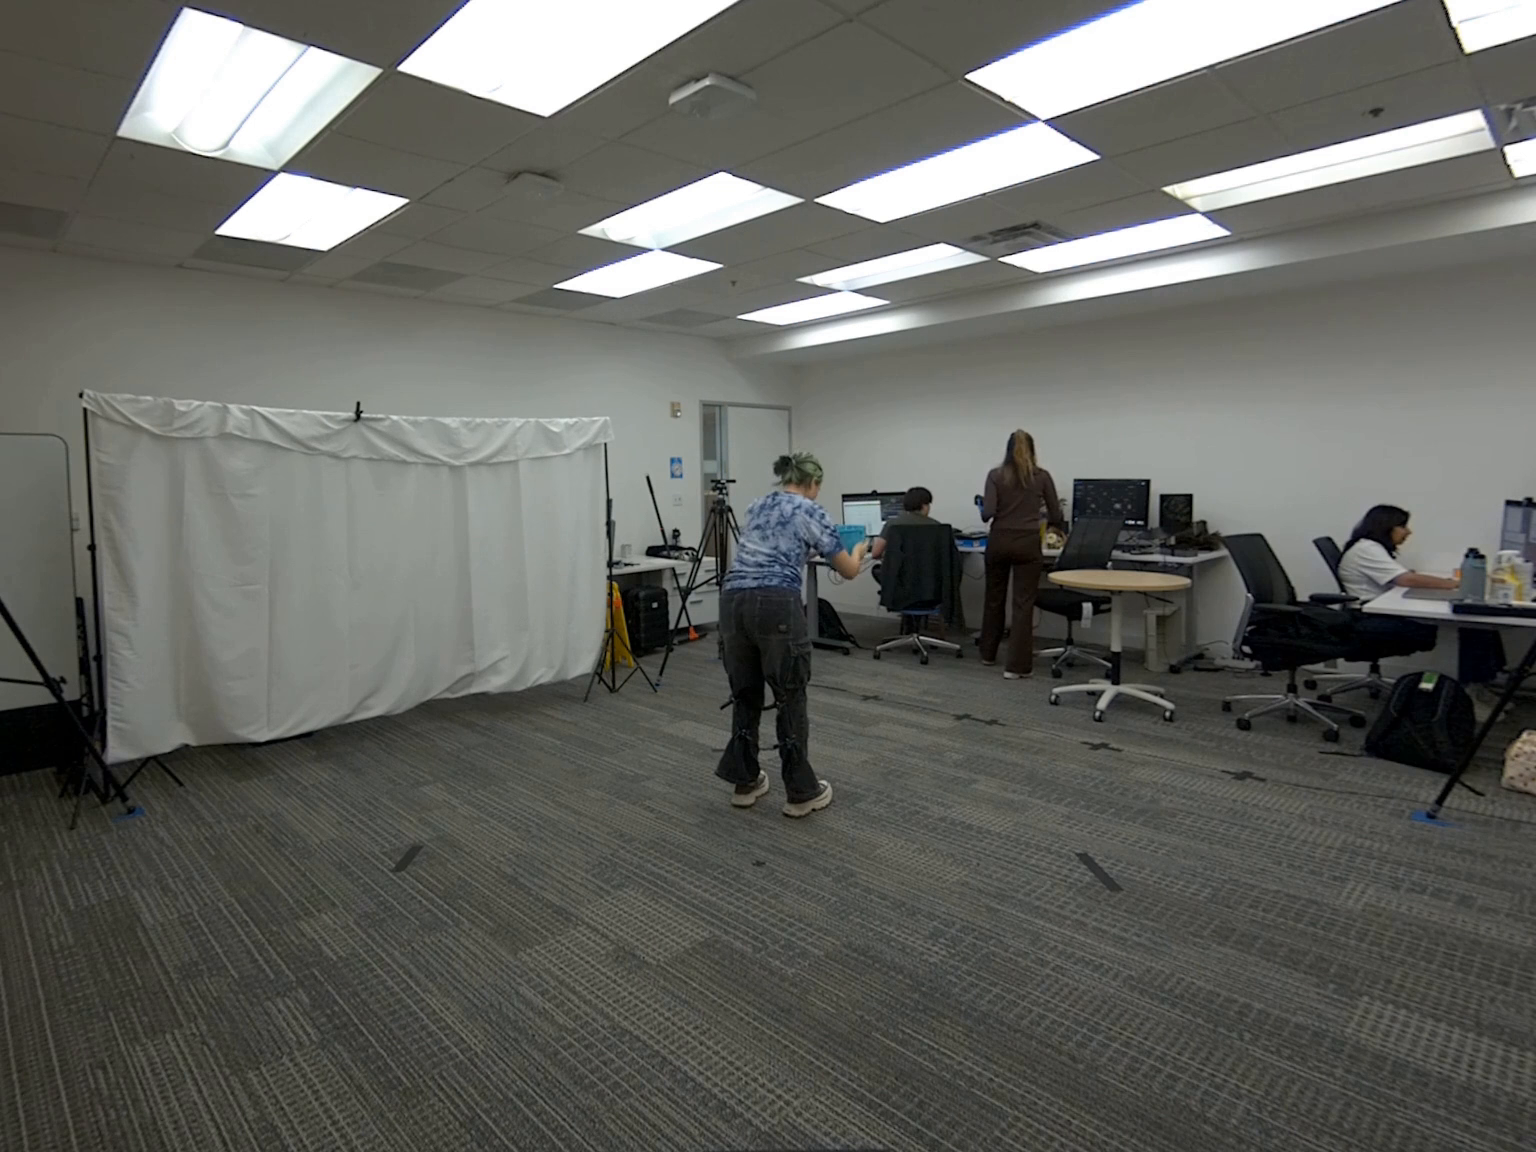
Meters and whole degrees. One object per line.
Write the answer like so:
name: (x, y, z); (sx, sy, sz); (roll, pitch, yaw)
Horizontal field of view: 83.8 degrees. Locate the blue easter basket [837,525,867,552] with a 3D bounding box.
blue easter basket: (0.349, -0.155, 4.008); (0.243, 0.155, 0.245); (-4, 6, -1)
